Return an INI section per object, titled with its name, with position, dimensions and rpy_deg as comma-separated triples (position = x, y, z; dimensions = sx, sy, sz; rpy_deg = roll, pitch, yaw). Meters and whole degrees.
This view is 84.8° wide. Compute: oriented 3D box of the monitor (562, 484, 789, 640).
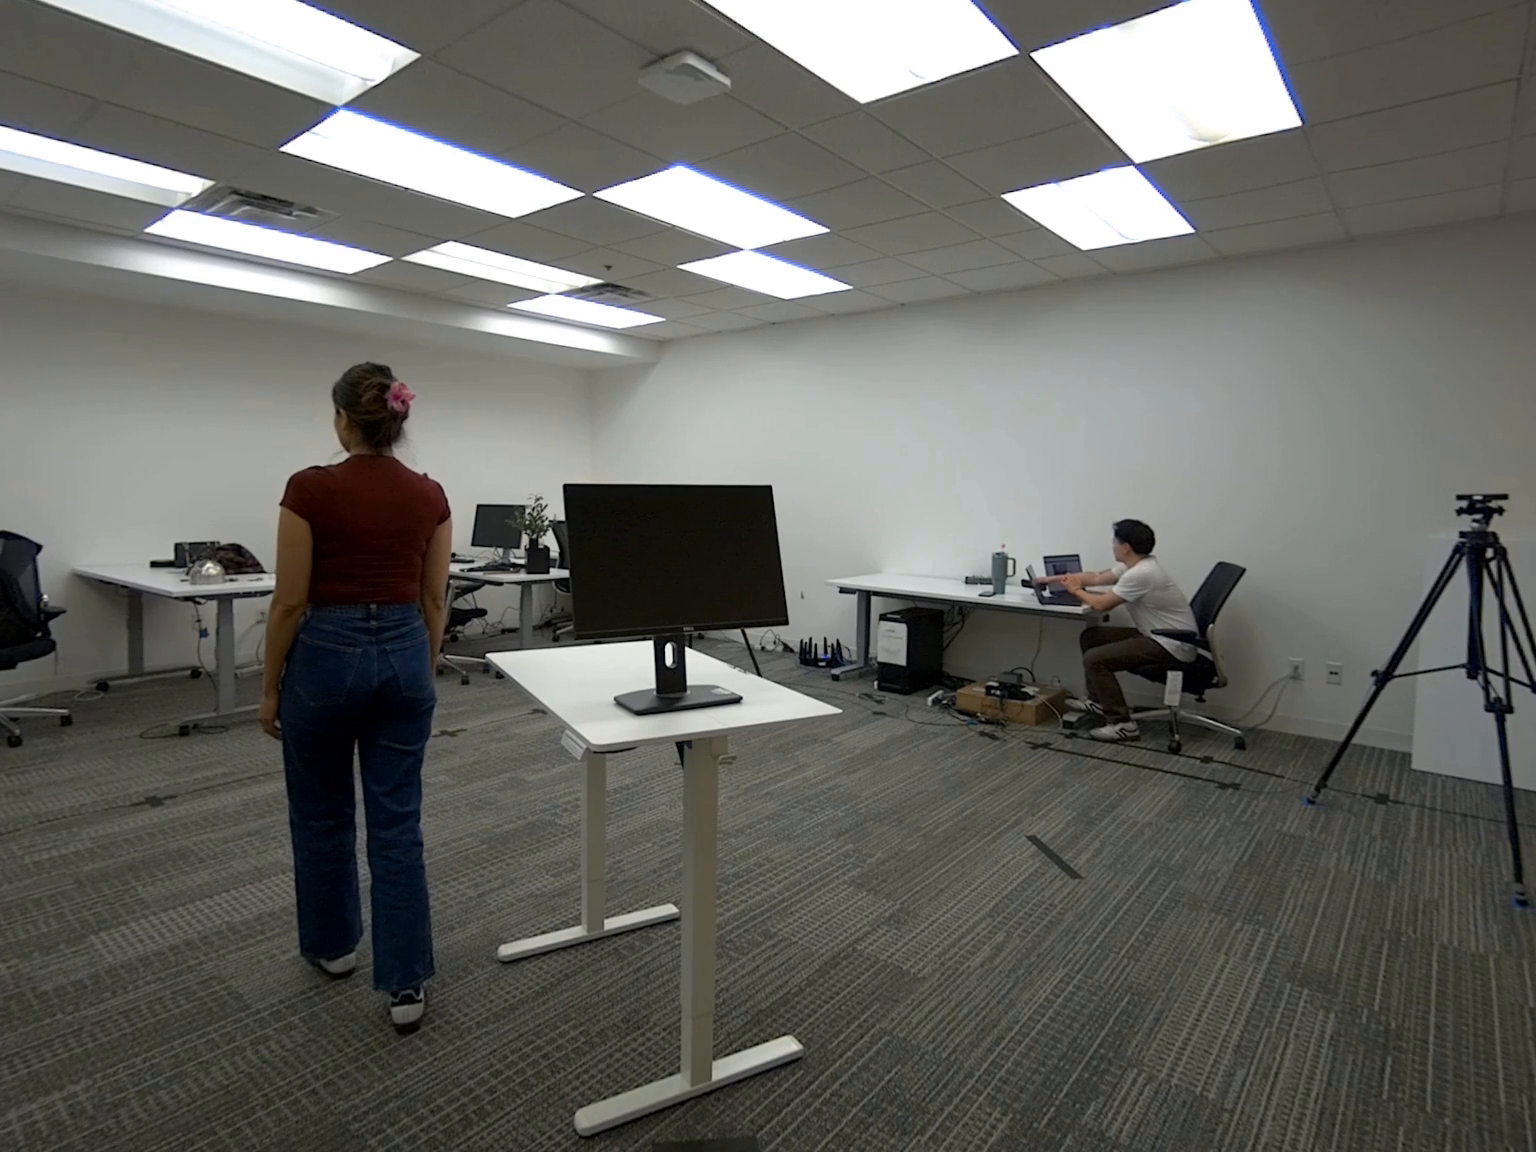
[monitor]
position = -0.234, 0.048, 2.007
dimensions = 0.525, 0.522, 0.192
rpy_deg = -2, 1, -28
